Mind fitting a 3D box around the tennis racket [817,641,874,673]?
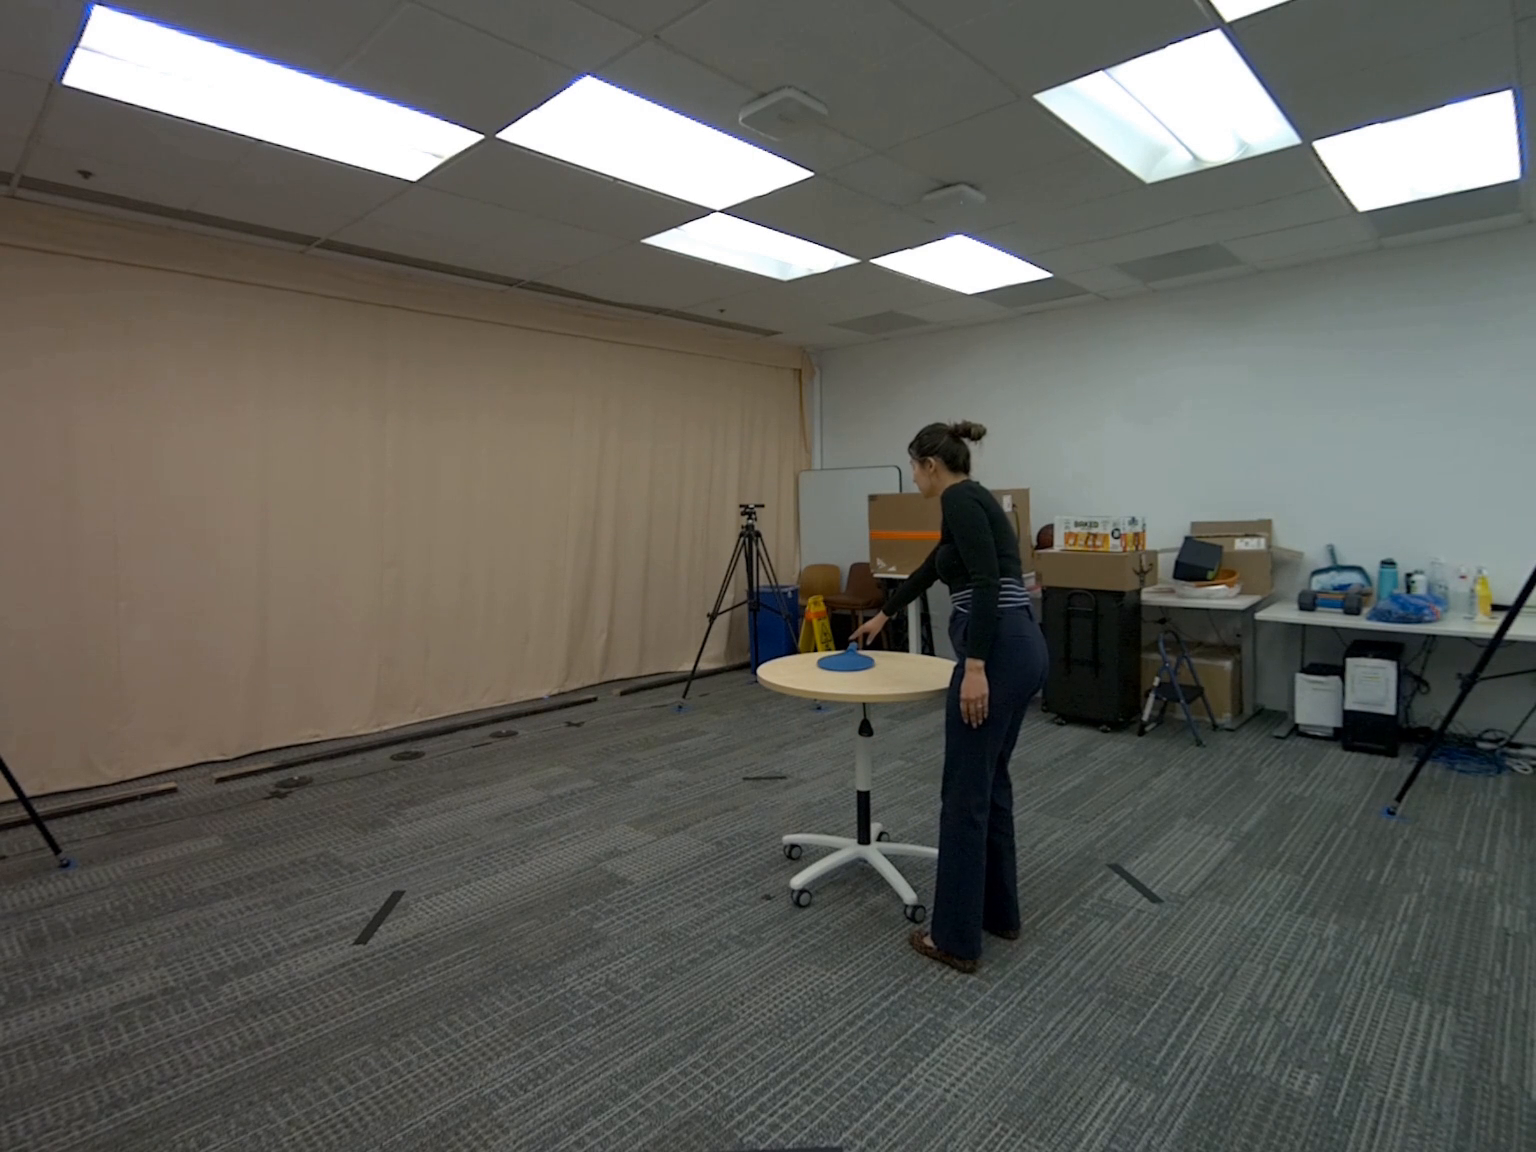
[{"bbox_3d":[0.311,0.314,3.249,0.217,0.031,0.428,0,7,14],"label":"tennis racket"}]
